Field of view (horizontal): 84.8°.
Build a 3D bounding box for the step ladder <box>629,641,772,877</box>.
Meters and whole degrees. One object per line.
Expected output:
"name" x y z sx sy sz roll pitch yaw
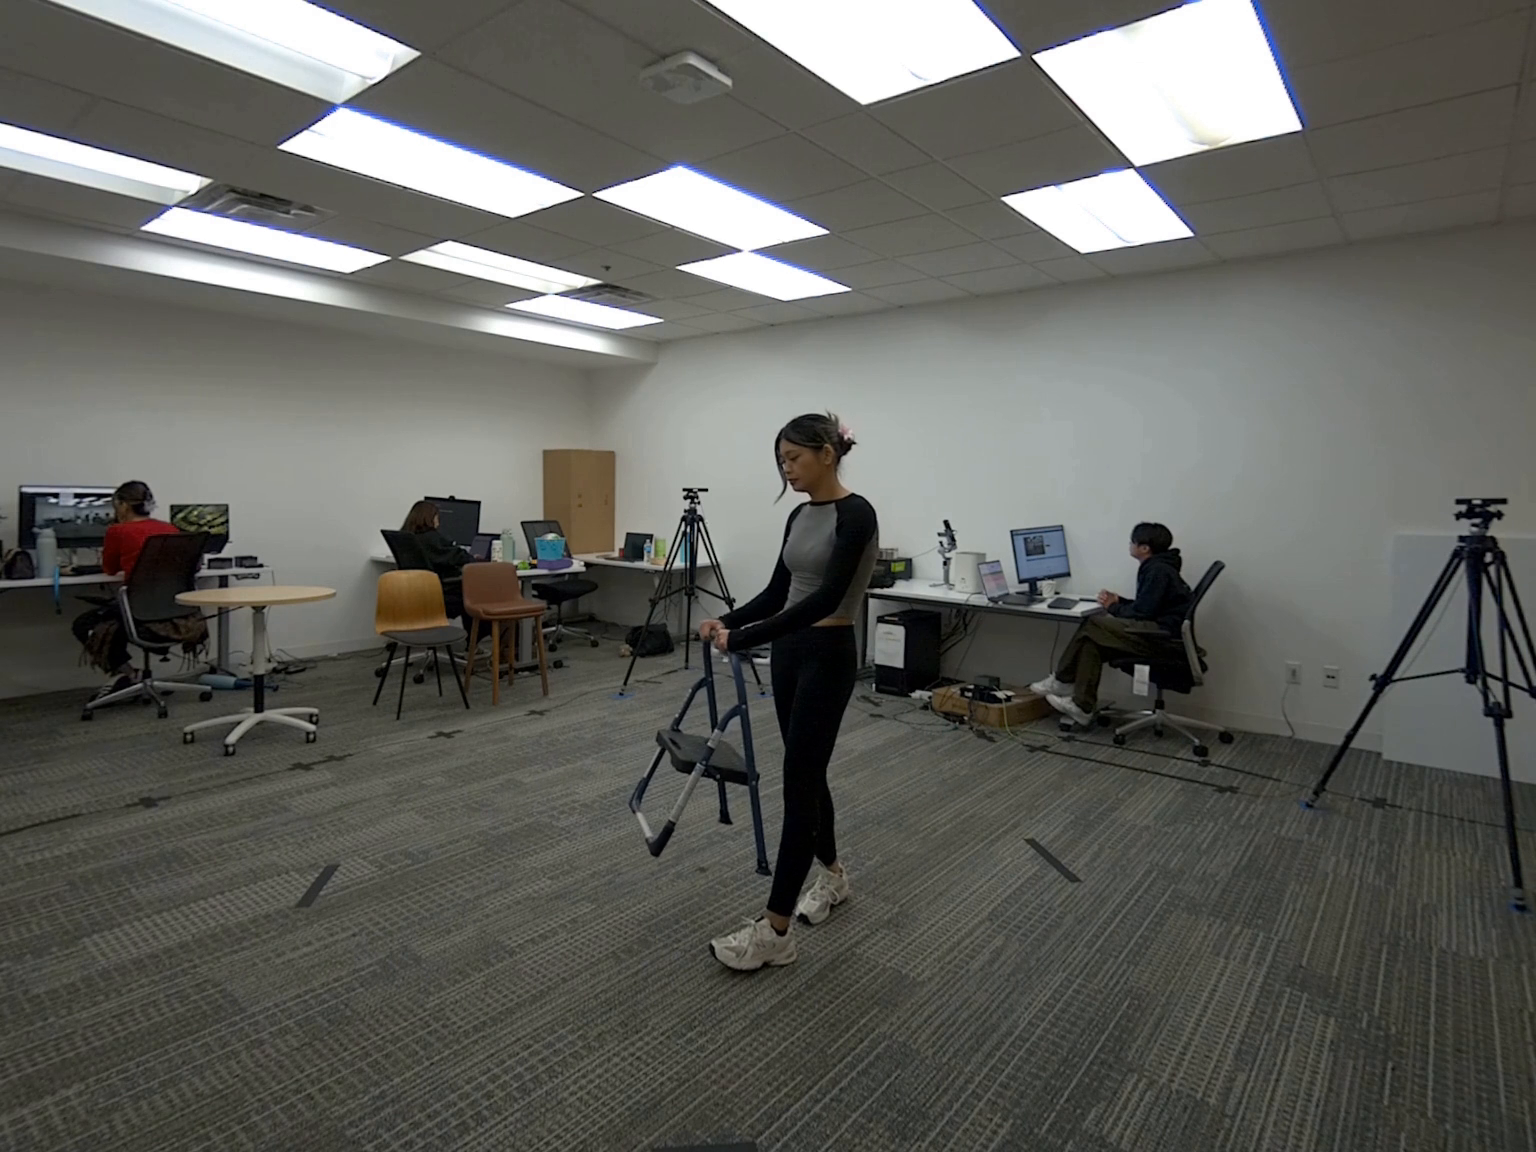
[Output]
"step ladder" -0.154 0.480 2.514 0.342 0.607 0.439 14 -3 -19
